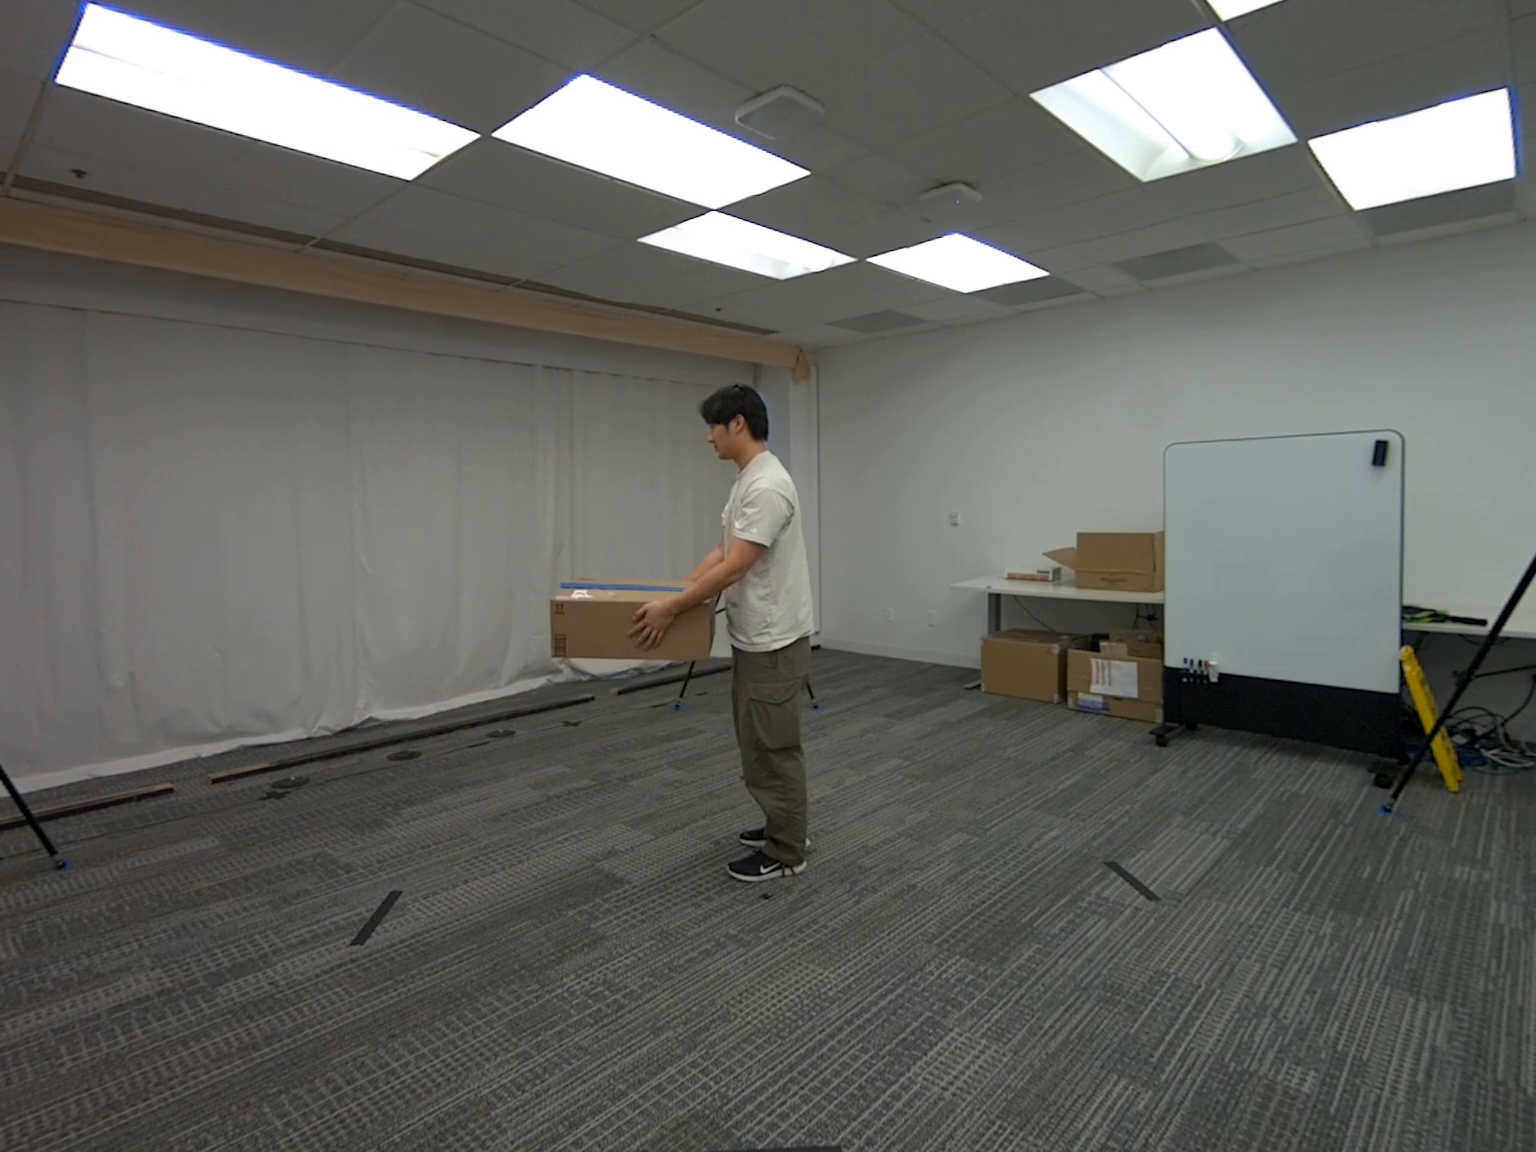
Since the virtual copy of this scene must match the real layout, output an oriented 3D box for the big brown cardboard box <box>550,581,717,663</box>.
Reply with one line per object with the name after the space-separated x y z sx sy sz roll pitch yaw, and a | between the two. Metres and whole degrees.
-0.497 0.153 3.192 0.590 0.232 0.419 2 8 1 | big brown cardboard box
